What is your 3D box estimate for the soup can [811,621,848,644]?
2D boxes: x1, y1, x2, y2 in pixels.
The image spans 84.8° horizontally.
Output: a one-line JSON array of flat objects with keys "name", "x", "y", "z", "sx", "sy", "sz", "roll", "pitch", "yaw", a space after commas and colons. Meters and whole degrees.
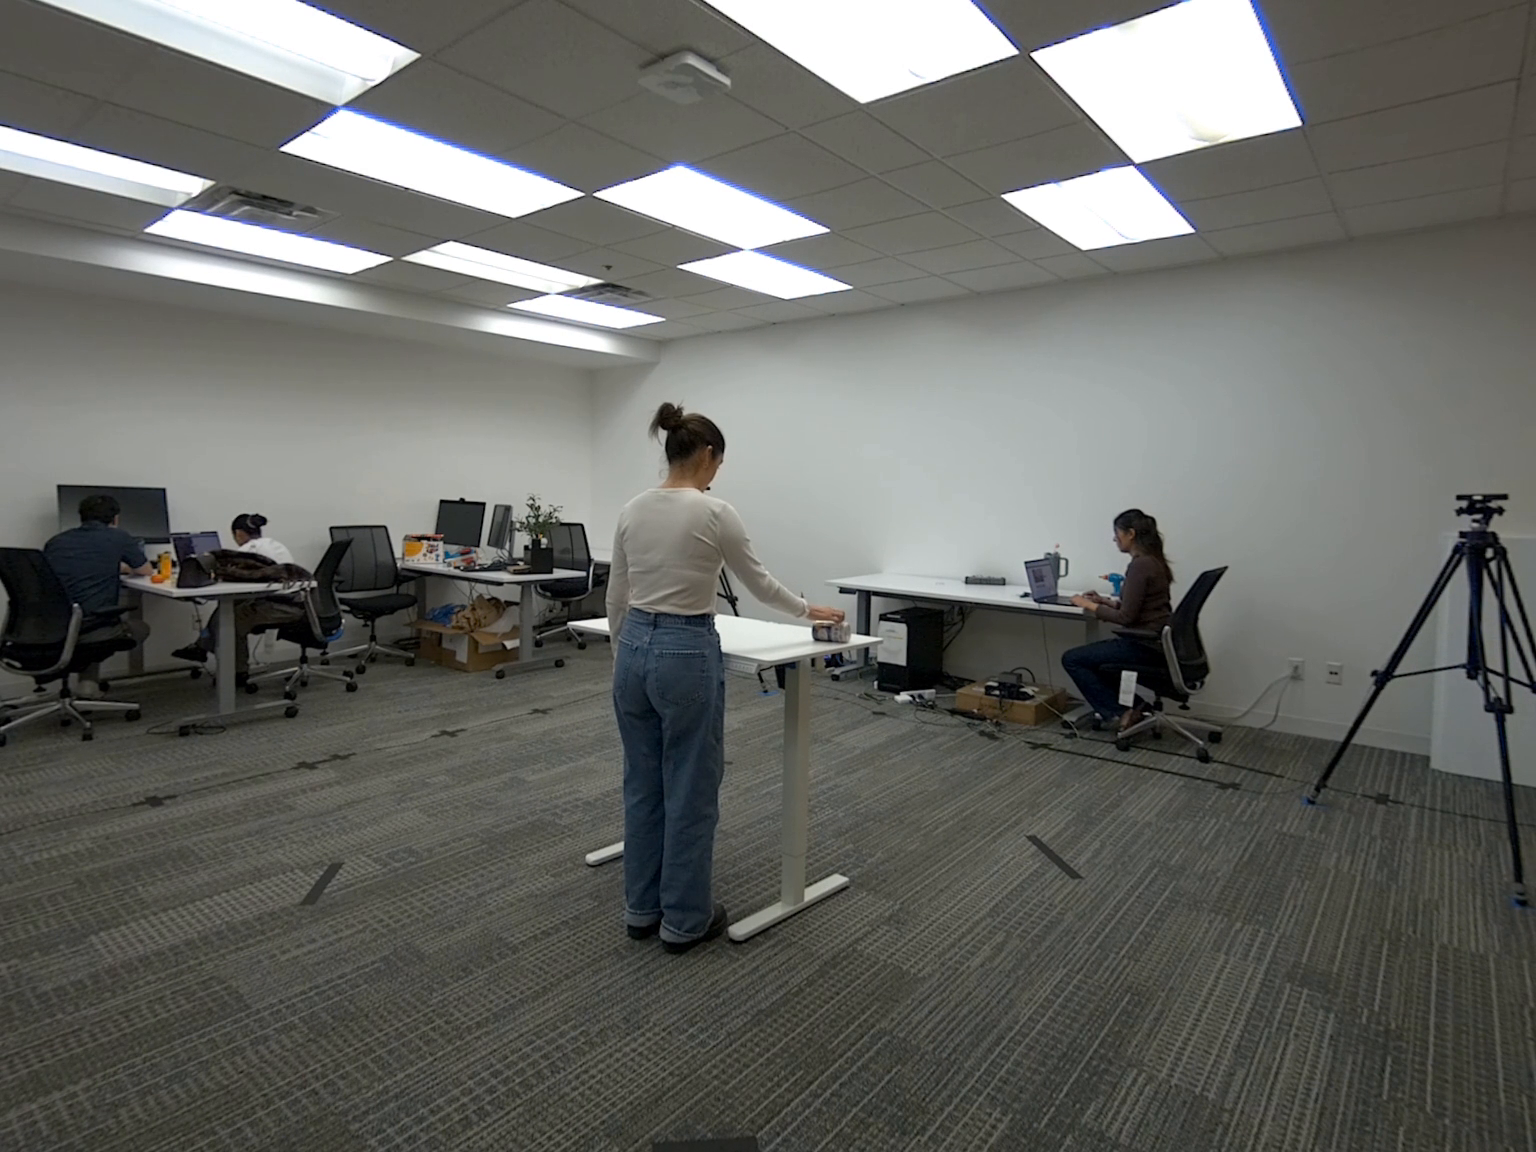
[{"name": "soup can", "x": 0.179, "y": 0.181, "z": 2.847, "sx": 0.122, "sy": 0.067, "sz": 0.067, "roll": 1, "pitch": 4, "yaw": 7}]
